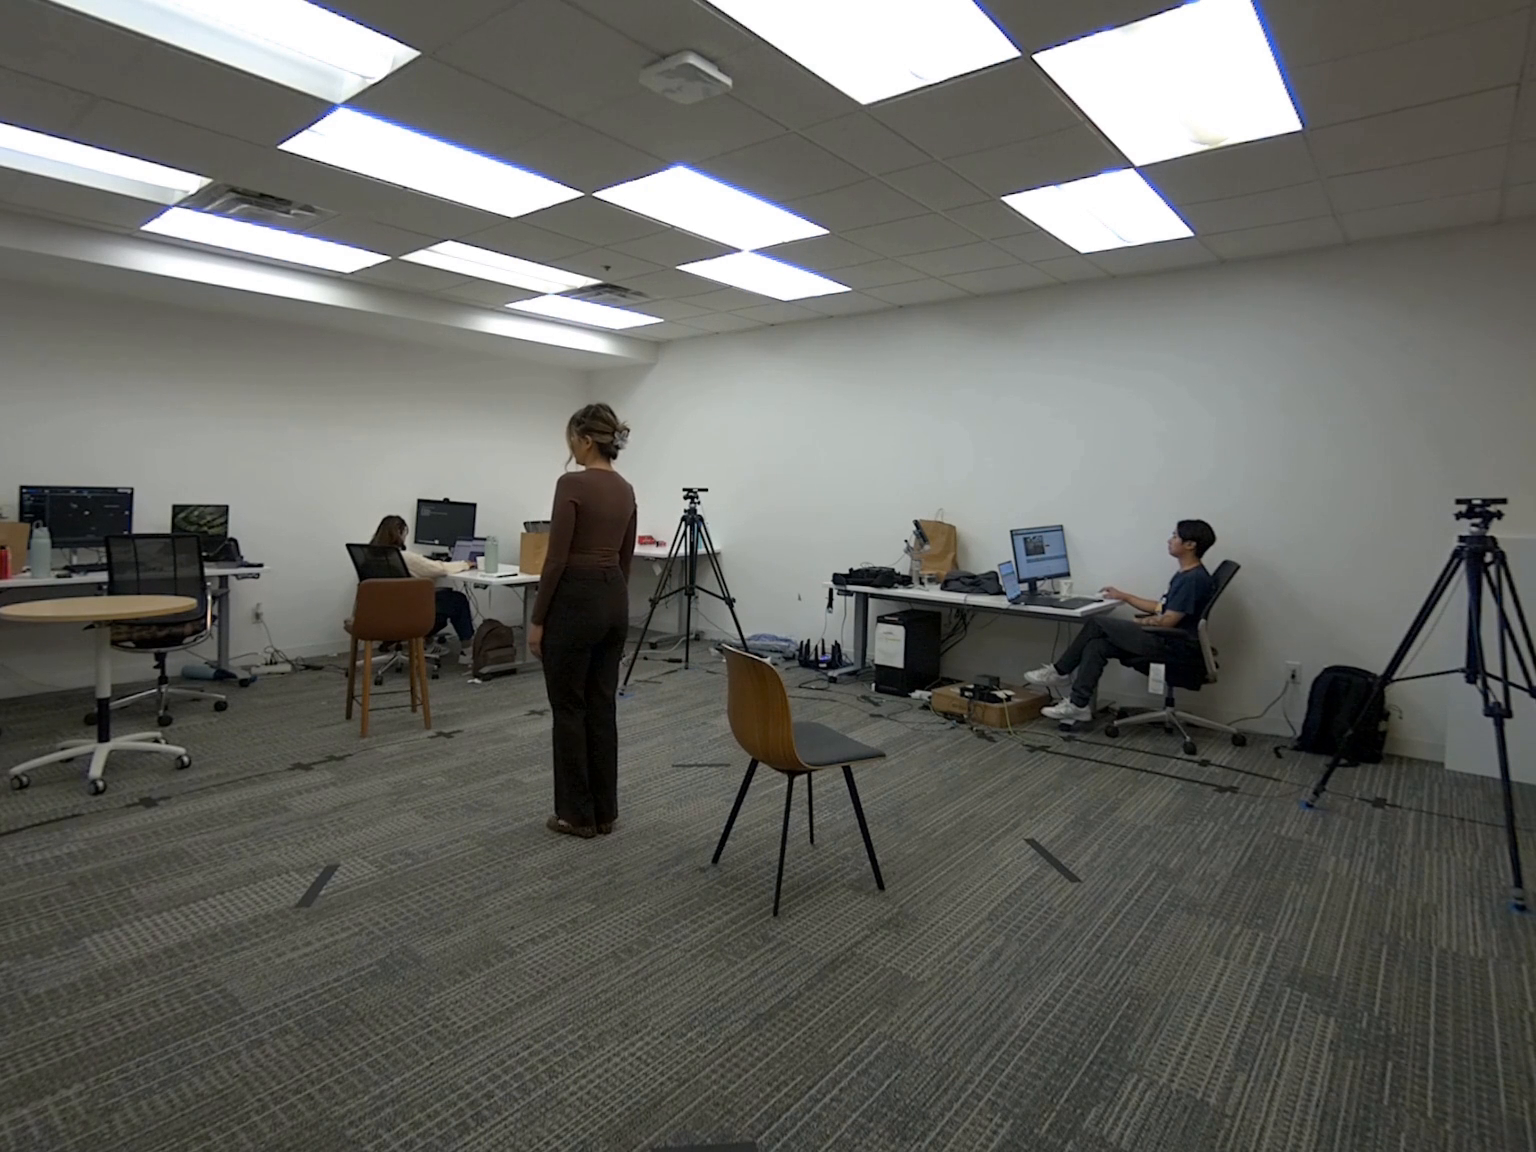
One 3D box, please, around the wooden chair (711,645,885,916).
[{"bbox_3d":[0.110,0.657,3.043,0.510,0.873,0.492,-5,6,-30],"label":"wooden chair"}]
